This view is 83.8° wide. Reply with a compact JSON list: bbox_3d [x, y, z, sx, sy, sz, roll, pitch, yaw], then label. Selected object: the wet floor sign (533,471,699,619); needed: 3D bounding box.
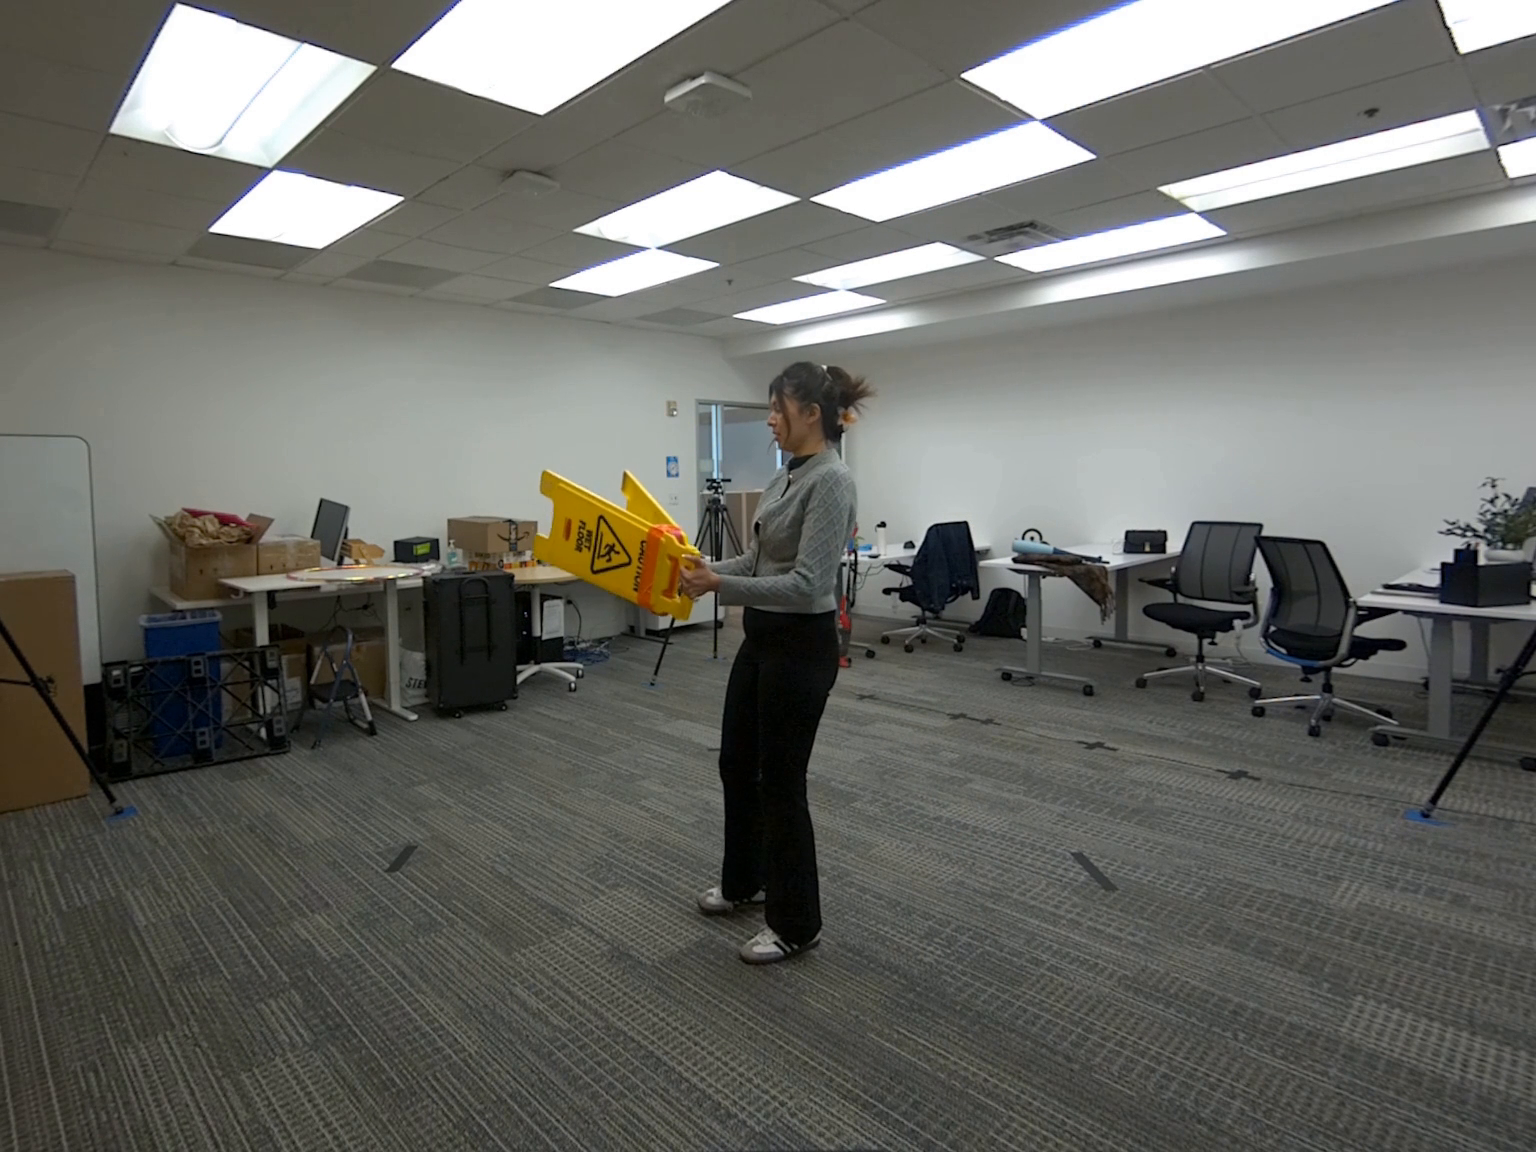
[{"bbox_3d":[-0.394,-0.082,2.463,0.282,0.279,0.671,-3,23,-38],"label":"wet floor sign"}]
